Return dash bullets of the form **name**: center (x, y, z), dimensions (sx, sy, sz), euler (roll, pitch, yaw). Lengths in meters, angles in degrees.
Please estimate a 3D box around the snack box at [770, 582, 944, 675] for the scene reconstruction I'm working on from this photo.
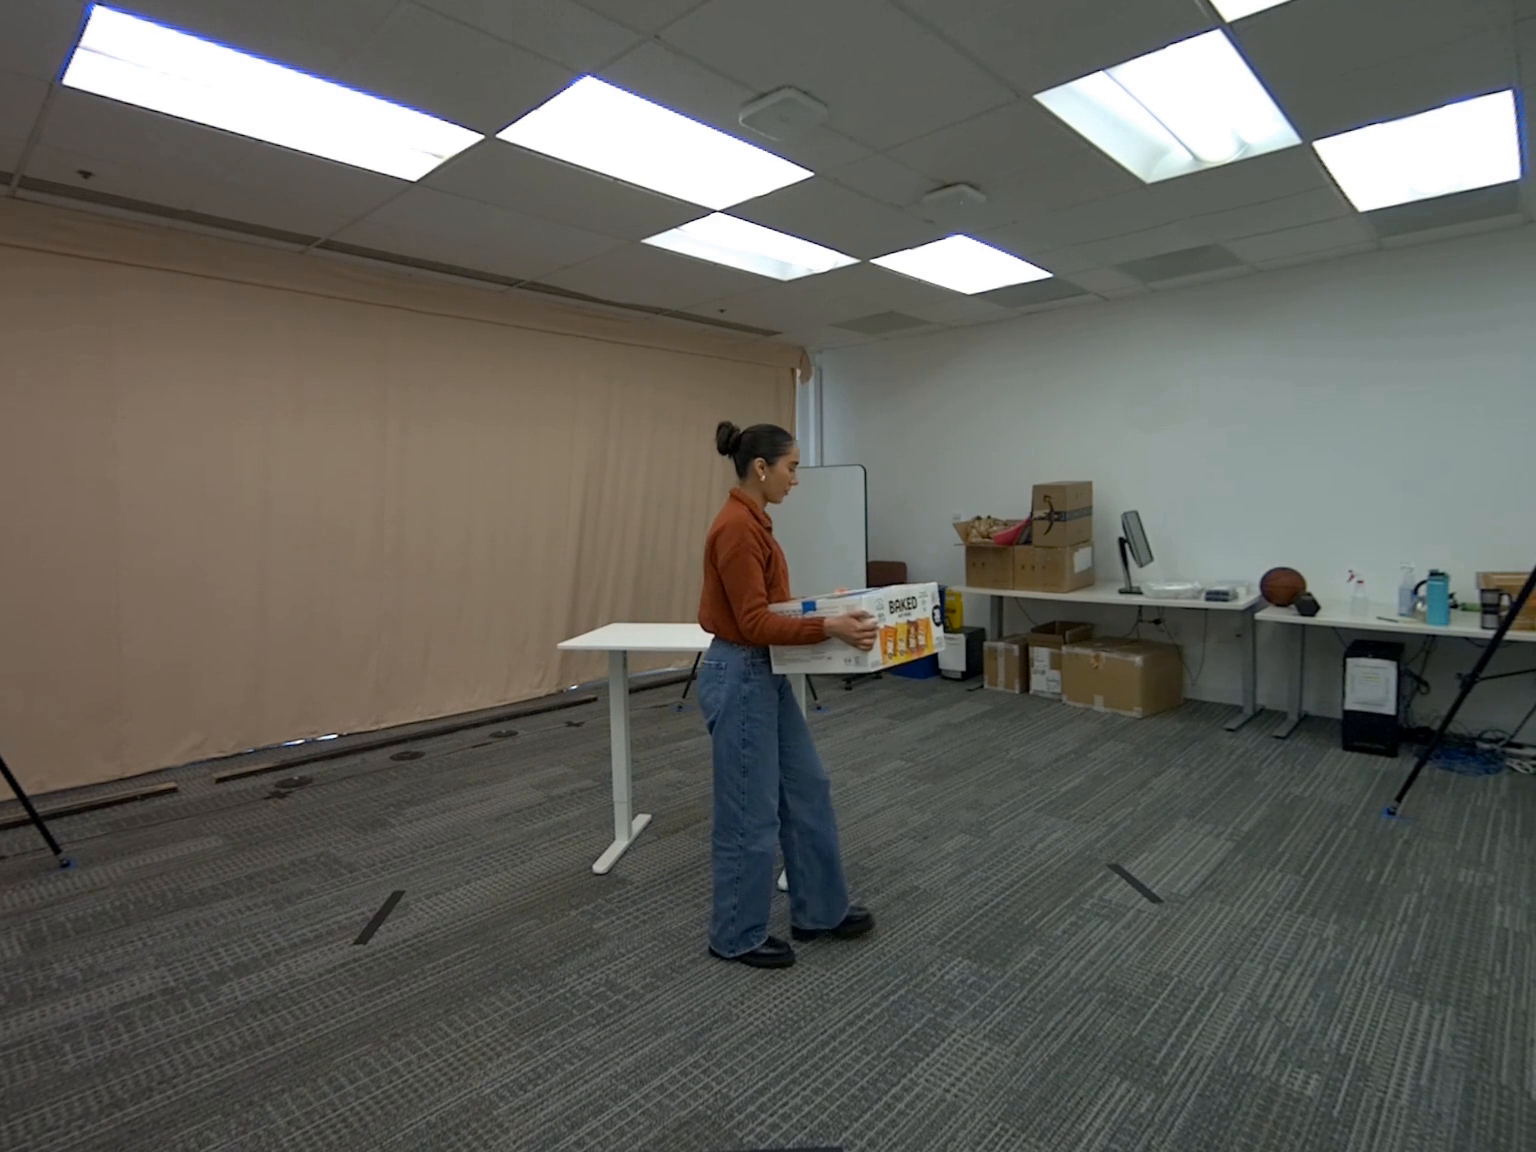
- **snack box**: center (0.269, 0.153, 2.452), dimensions (0.350, 0.206, 0.393), euler (-8, -1, 41)
